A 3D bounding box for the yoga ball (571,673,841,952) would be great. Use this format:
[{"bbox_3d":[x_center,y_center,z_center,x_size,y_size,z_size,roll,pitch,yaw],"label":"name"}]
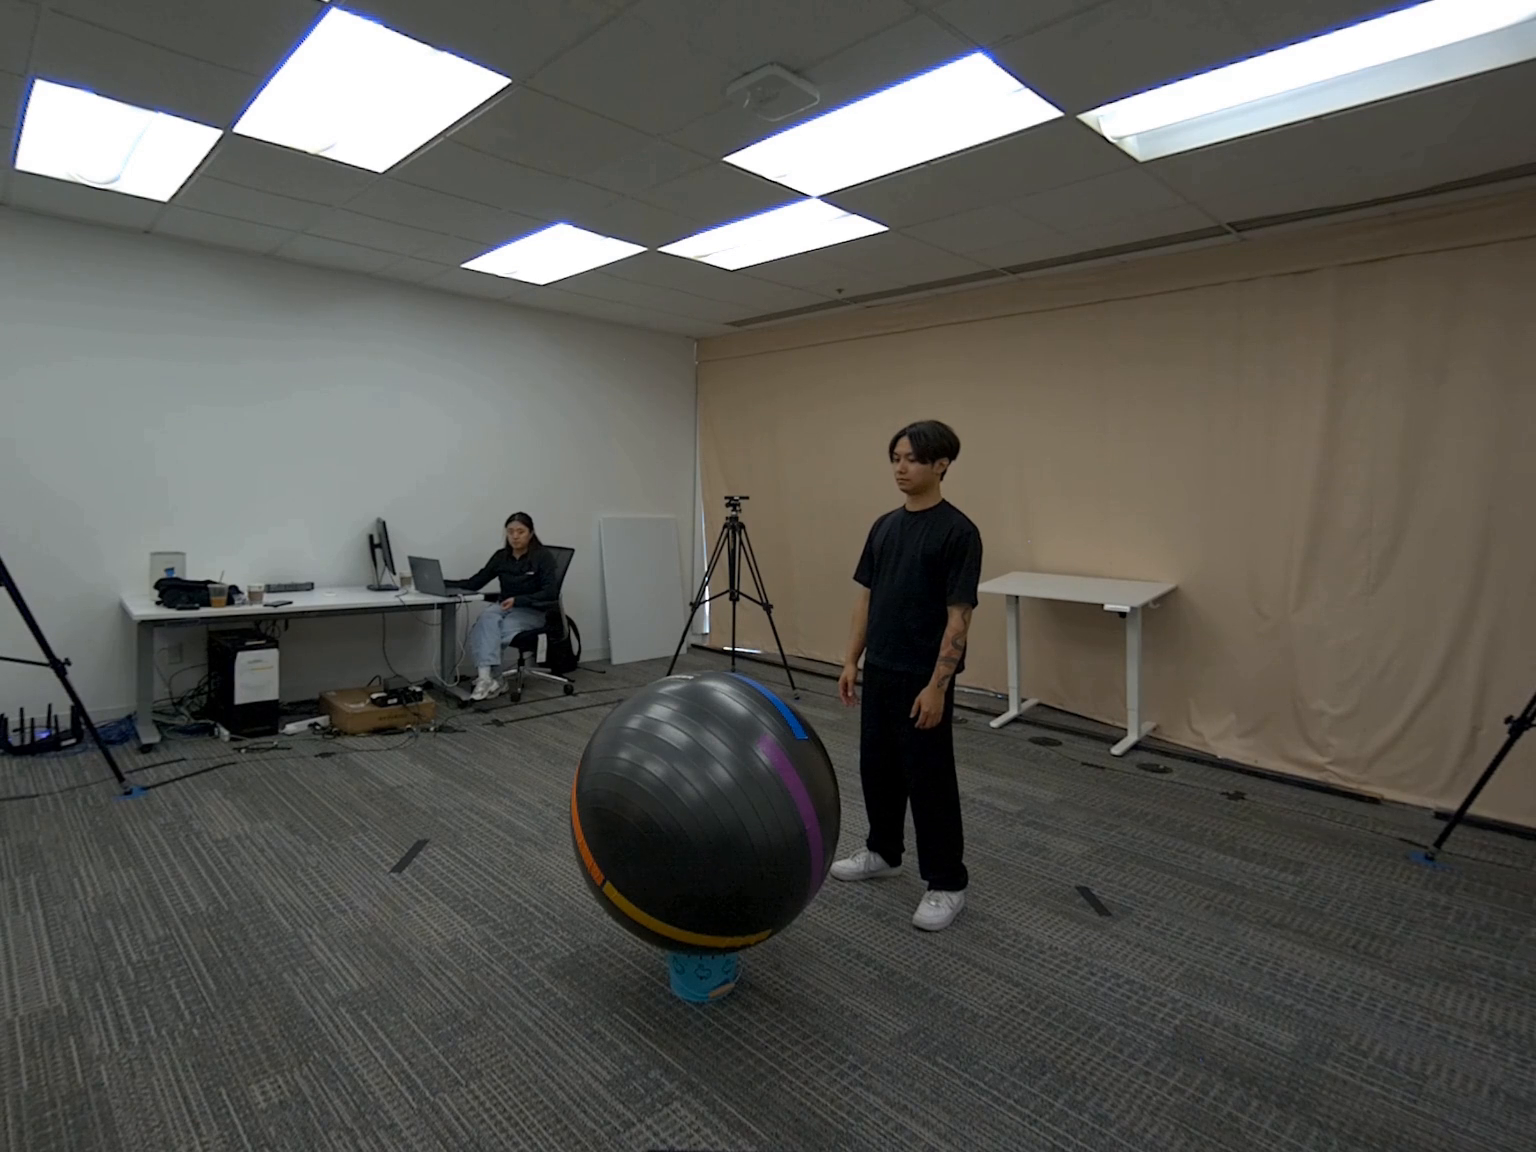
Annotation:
[{"bbox_3d":[-0.184,0.658,2.385,0.757,0.756,0.761,1,4,-1],"label":"yoga ball"}]
